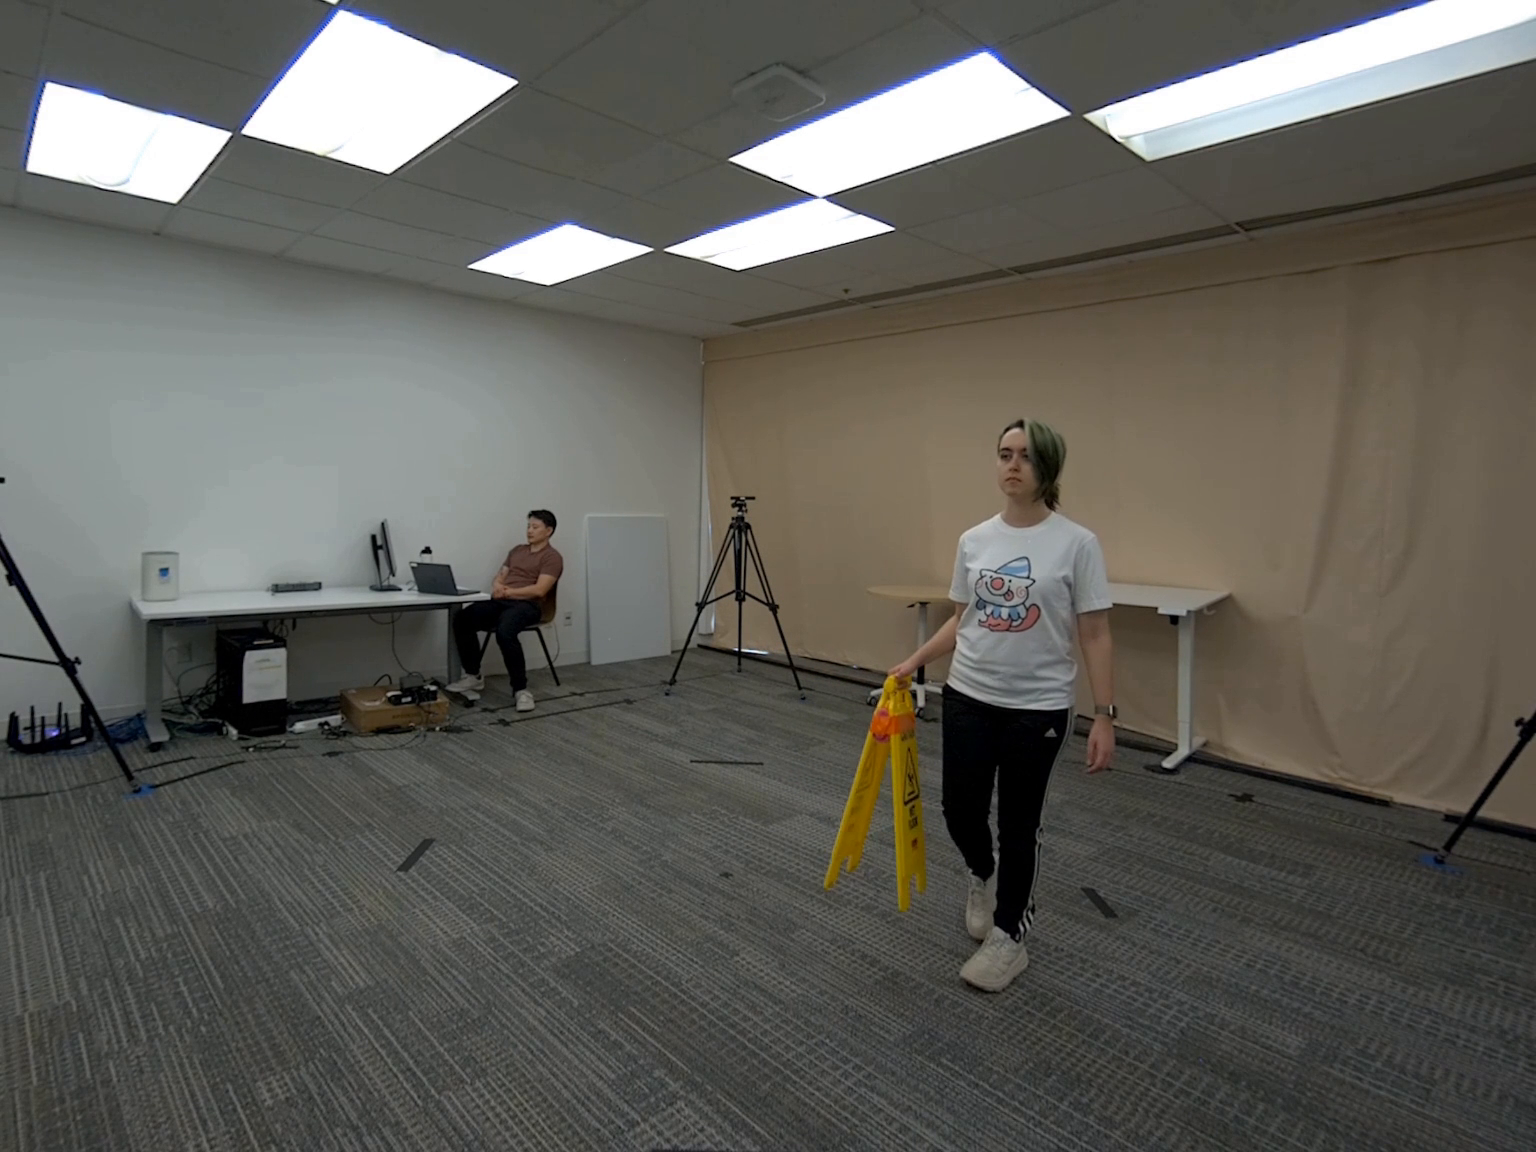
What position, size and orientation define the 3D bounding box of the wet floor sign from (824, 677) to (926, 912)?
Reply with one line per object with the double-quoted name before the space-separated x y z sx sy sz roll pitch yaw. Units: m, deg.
"wet floor sign" 0.360 0.627 2.571 0.295 0.648 0.276 4 -5 26
